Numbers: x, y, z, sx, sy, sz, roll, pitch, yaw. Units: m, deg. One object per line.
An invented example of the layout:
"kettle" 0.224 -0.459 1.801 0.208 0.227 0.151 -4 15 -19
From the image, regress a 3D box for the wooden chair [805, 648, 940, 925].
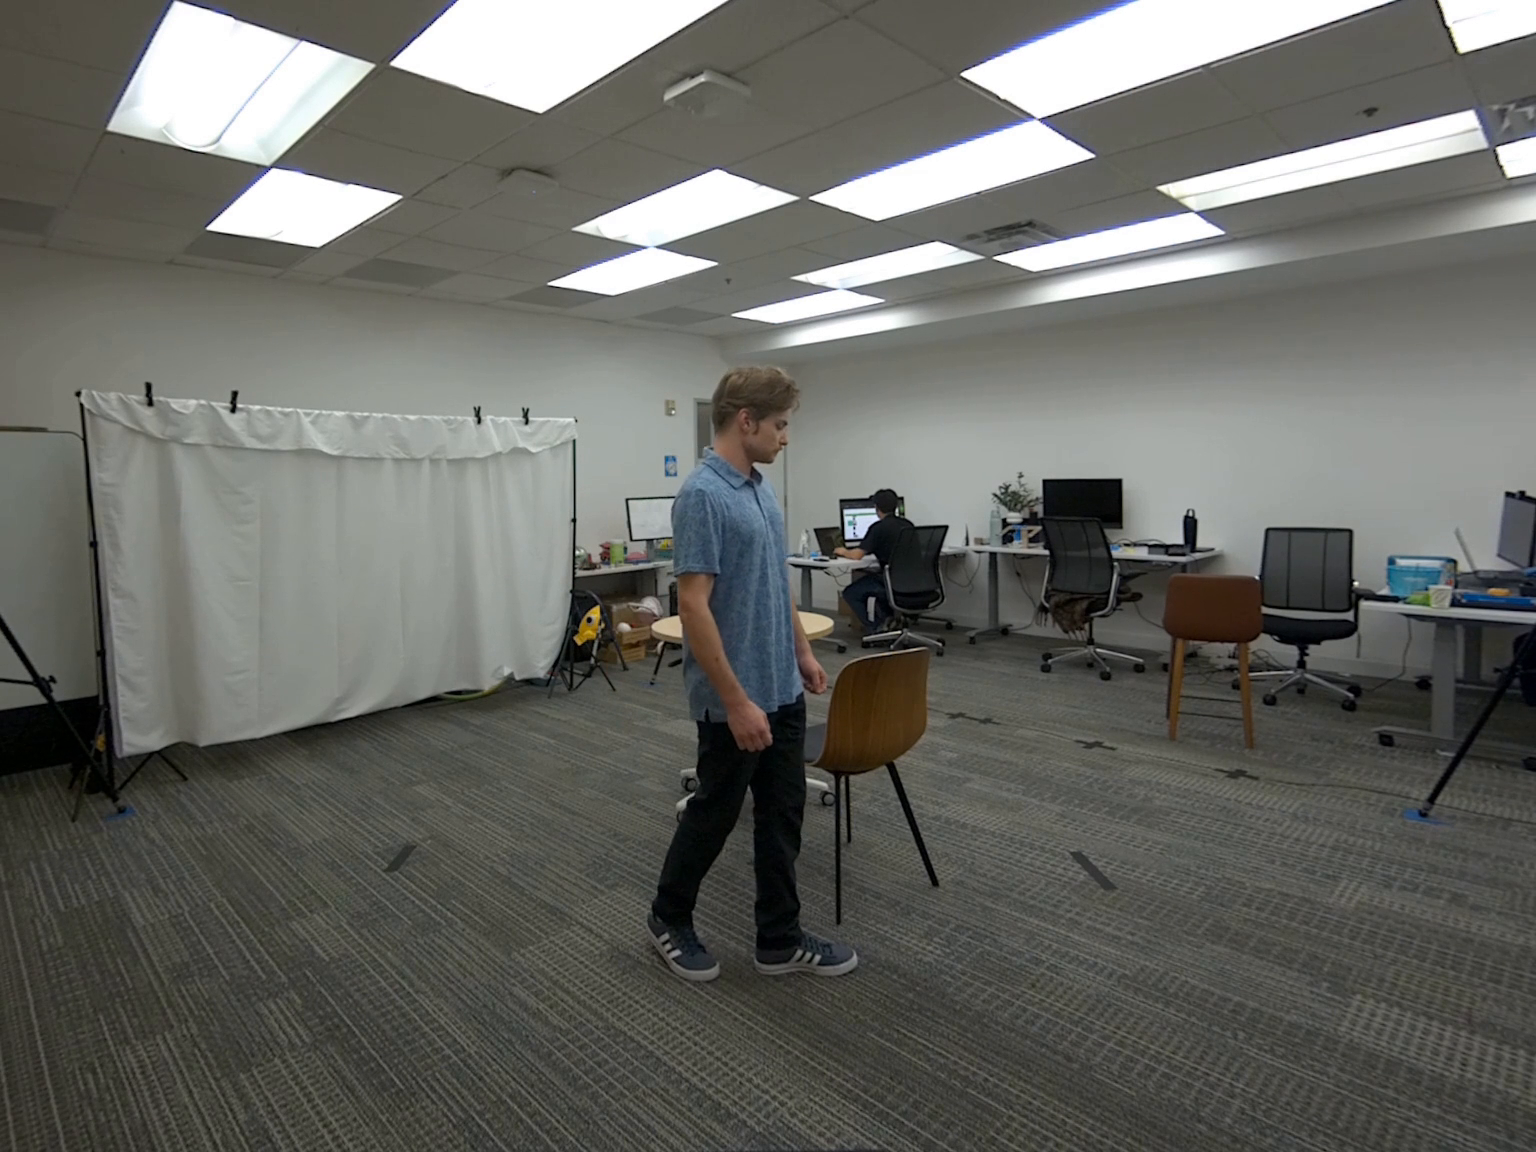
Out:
"wooden chair" 0.258 0.628 2.943 0.466 0.871 0.540 -5 10 -35
